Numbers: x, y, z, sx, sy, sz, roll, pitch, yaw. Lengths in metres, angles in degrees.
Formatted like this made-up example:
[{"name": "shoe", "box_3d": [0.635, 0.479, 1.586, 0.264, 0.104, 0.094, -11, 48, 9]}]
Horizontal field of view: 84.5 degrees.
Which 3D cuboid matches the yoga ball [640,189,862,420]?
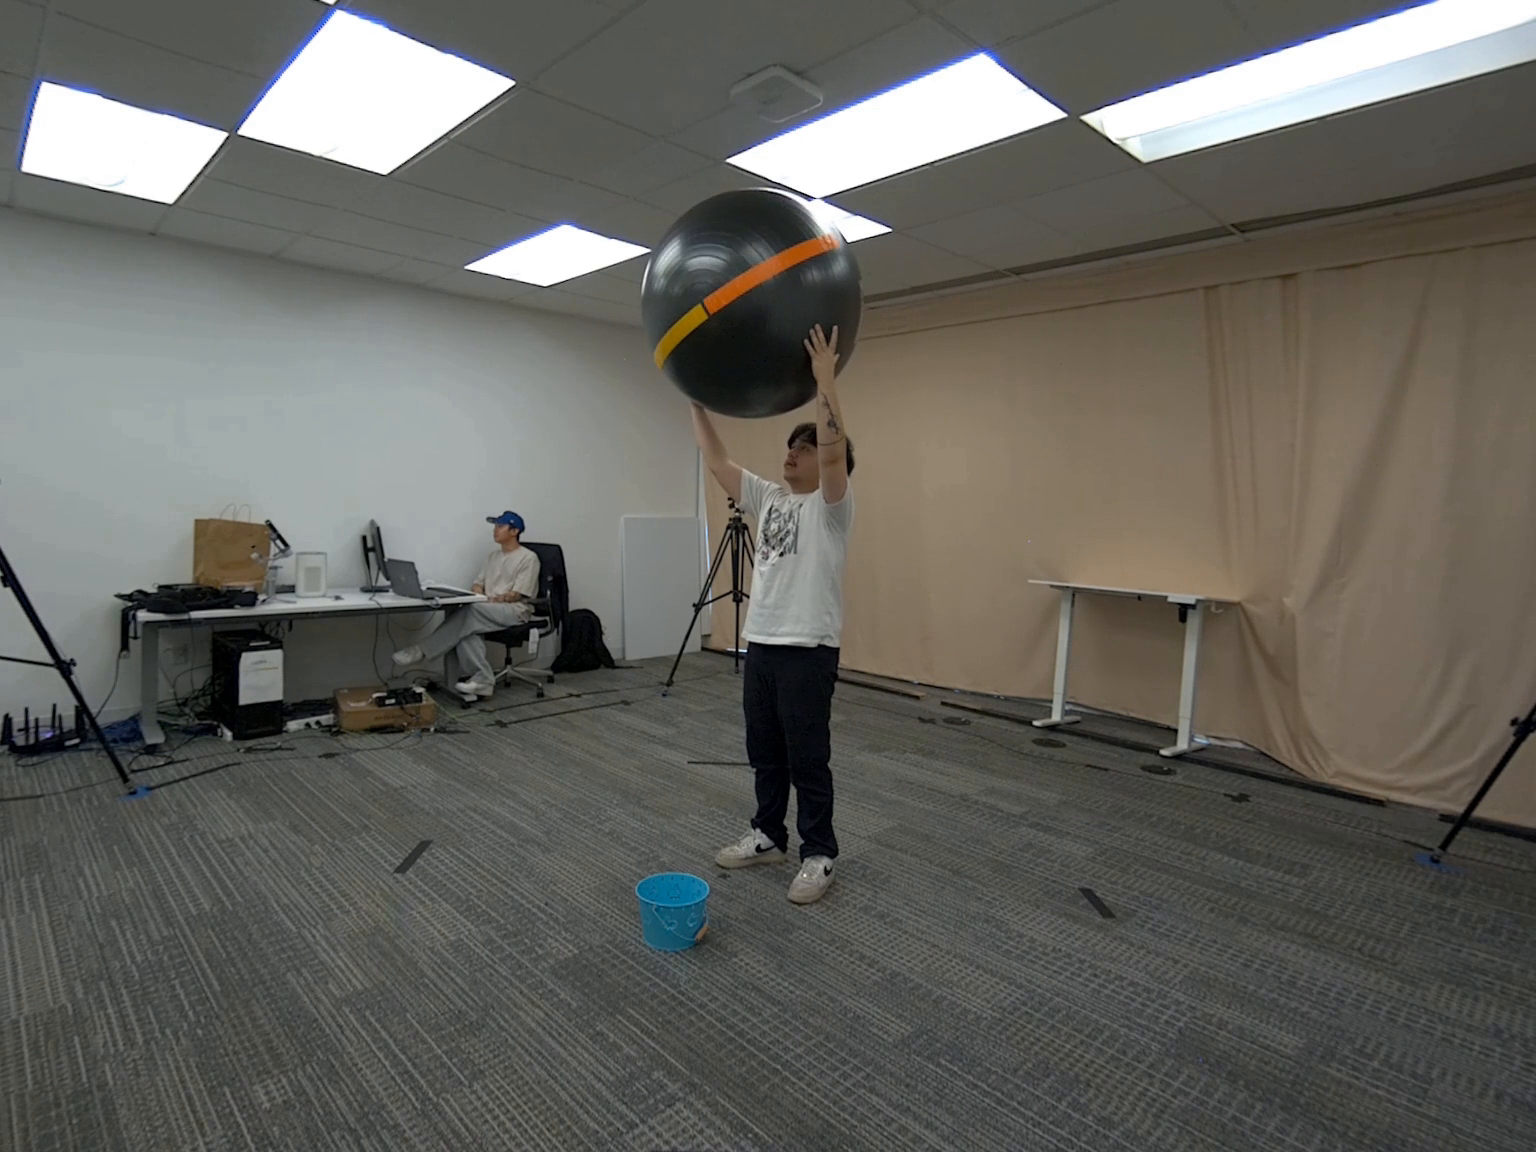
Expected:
[{"name": "yoga ball", "box_3d": [-0.062, -0.923, 2.895, 0.757, 0.756, 0.760, 1, 4, -1]}]
